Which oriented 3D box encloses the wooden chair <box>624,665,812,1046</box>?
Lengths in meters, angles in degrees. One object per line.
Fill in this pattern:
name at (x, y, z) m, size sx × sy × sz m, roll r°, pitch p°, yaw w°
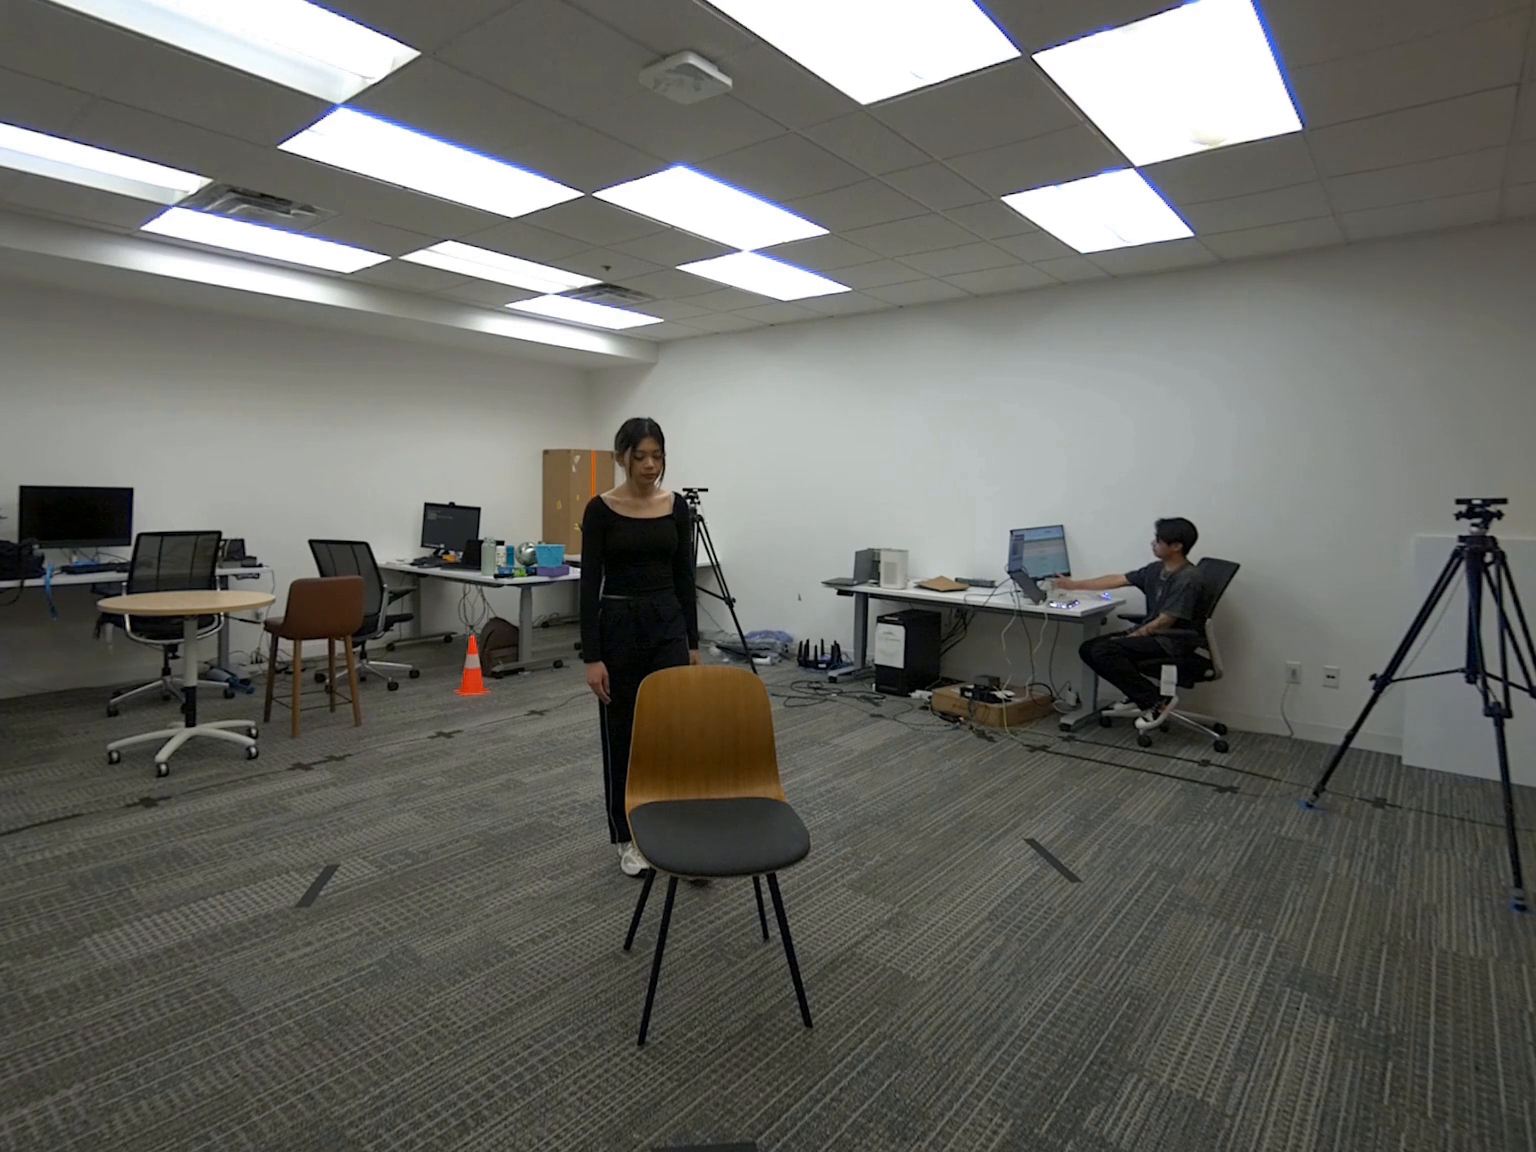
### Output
wooden chair at (-0.151, 0.718, 2.343) m, size 0.472 × 0.878 × 0.530 m, roll 1°, pitch 0°, yaw -13°
